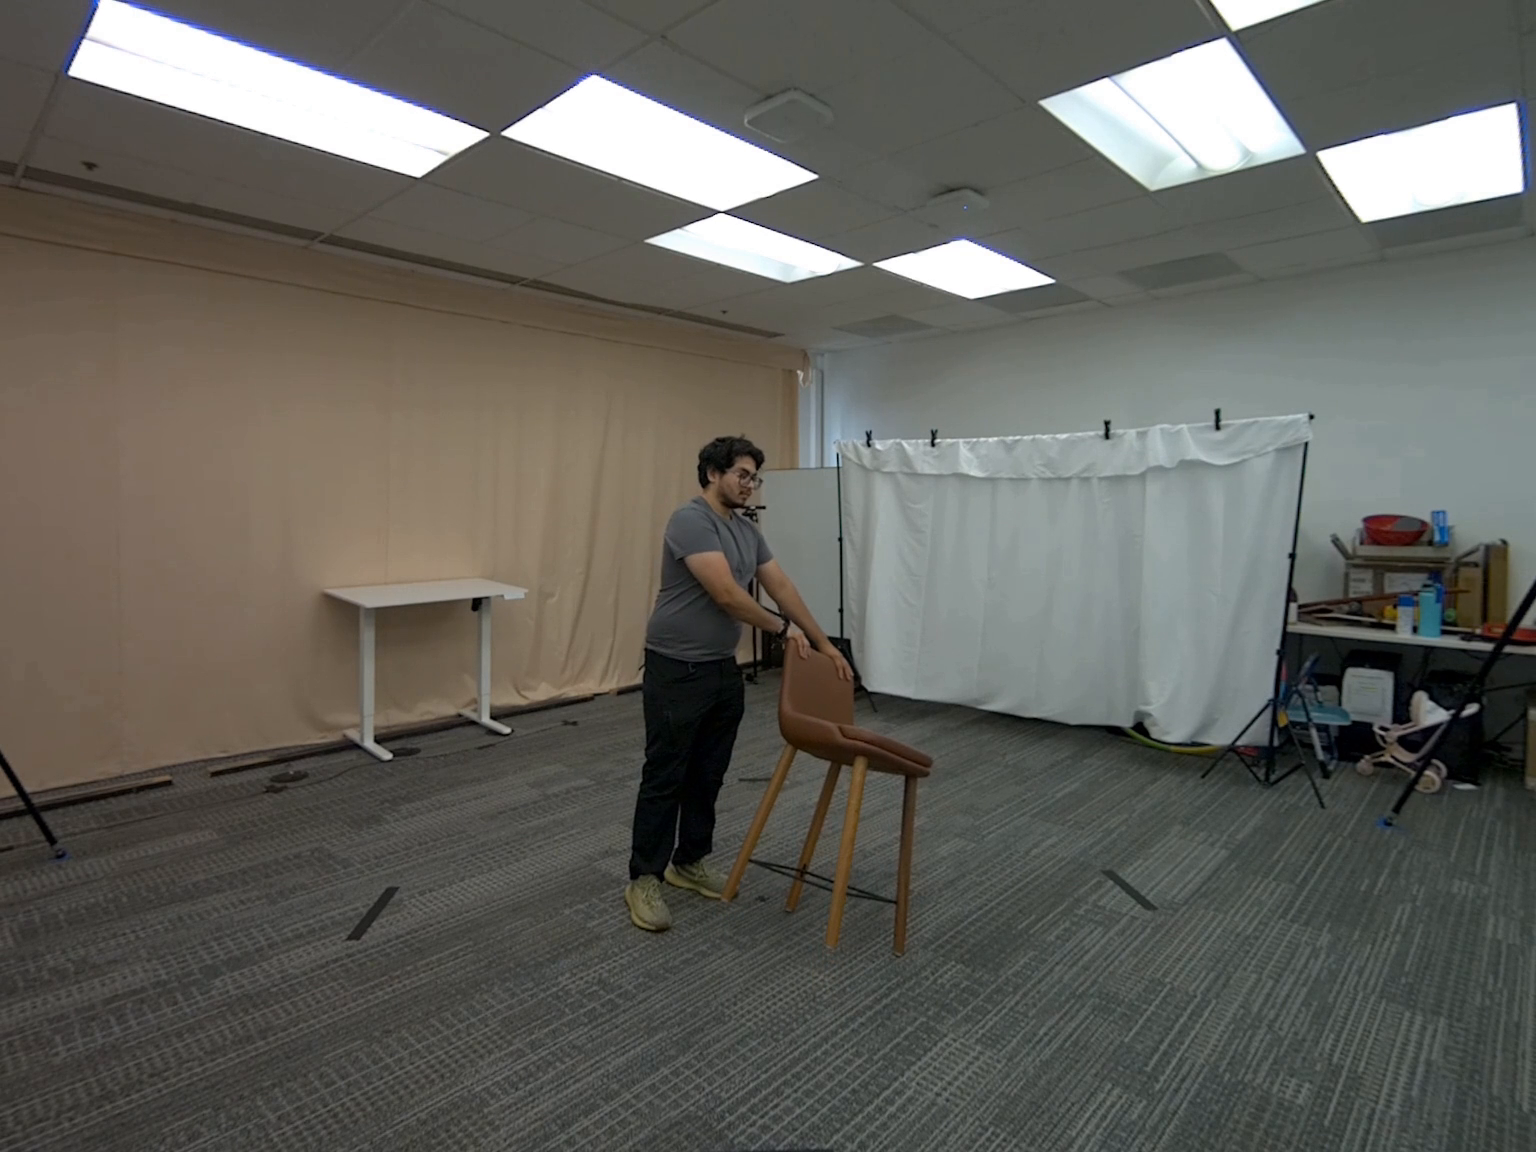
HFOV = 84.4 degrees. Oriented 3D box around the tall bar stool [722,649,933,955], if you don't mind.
[{"bbox_3d":[0.244,0.692,2.744,0.482,0.895,0.440,-2,-22,42],"label":"tall bar stool"}]
